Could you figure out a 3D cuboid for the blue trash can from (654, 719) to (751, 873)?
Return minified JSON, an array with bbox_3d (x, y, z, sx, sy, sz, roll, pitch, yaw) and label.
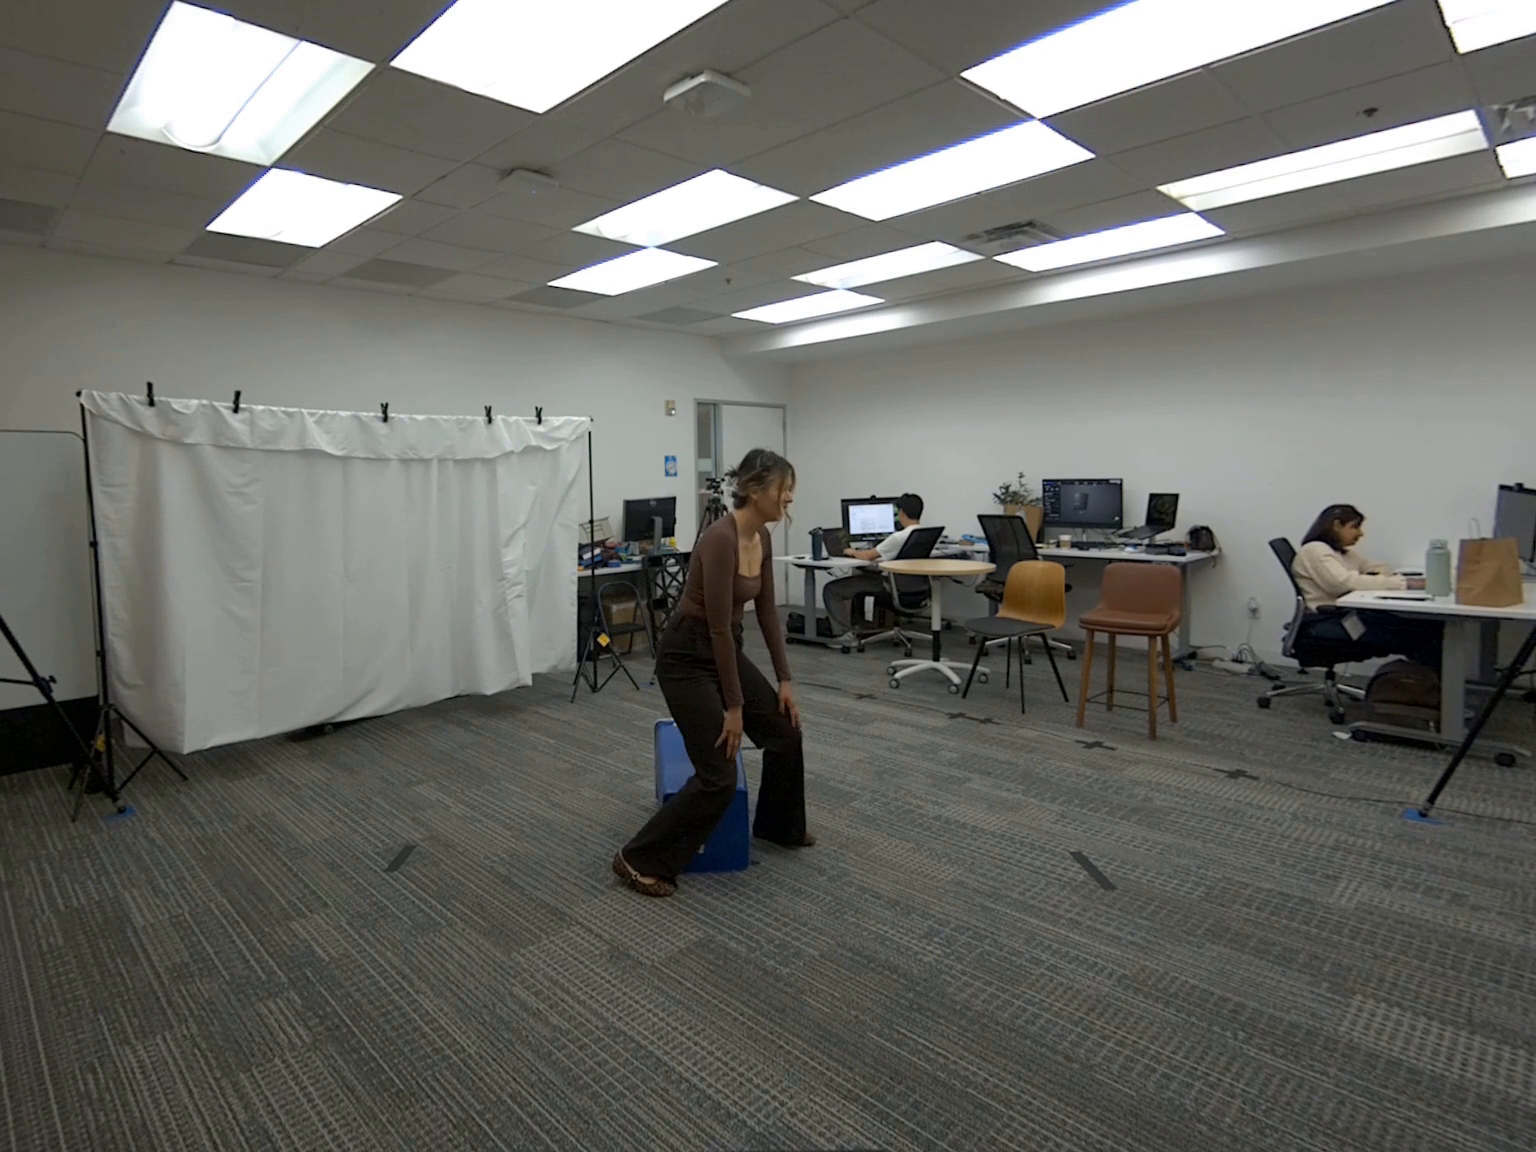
[{"bbox_3d":[-0.256,0.846,3.375,0.372,0.375,0.723,-1,9,-7],"label":"blue trash can"}]
